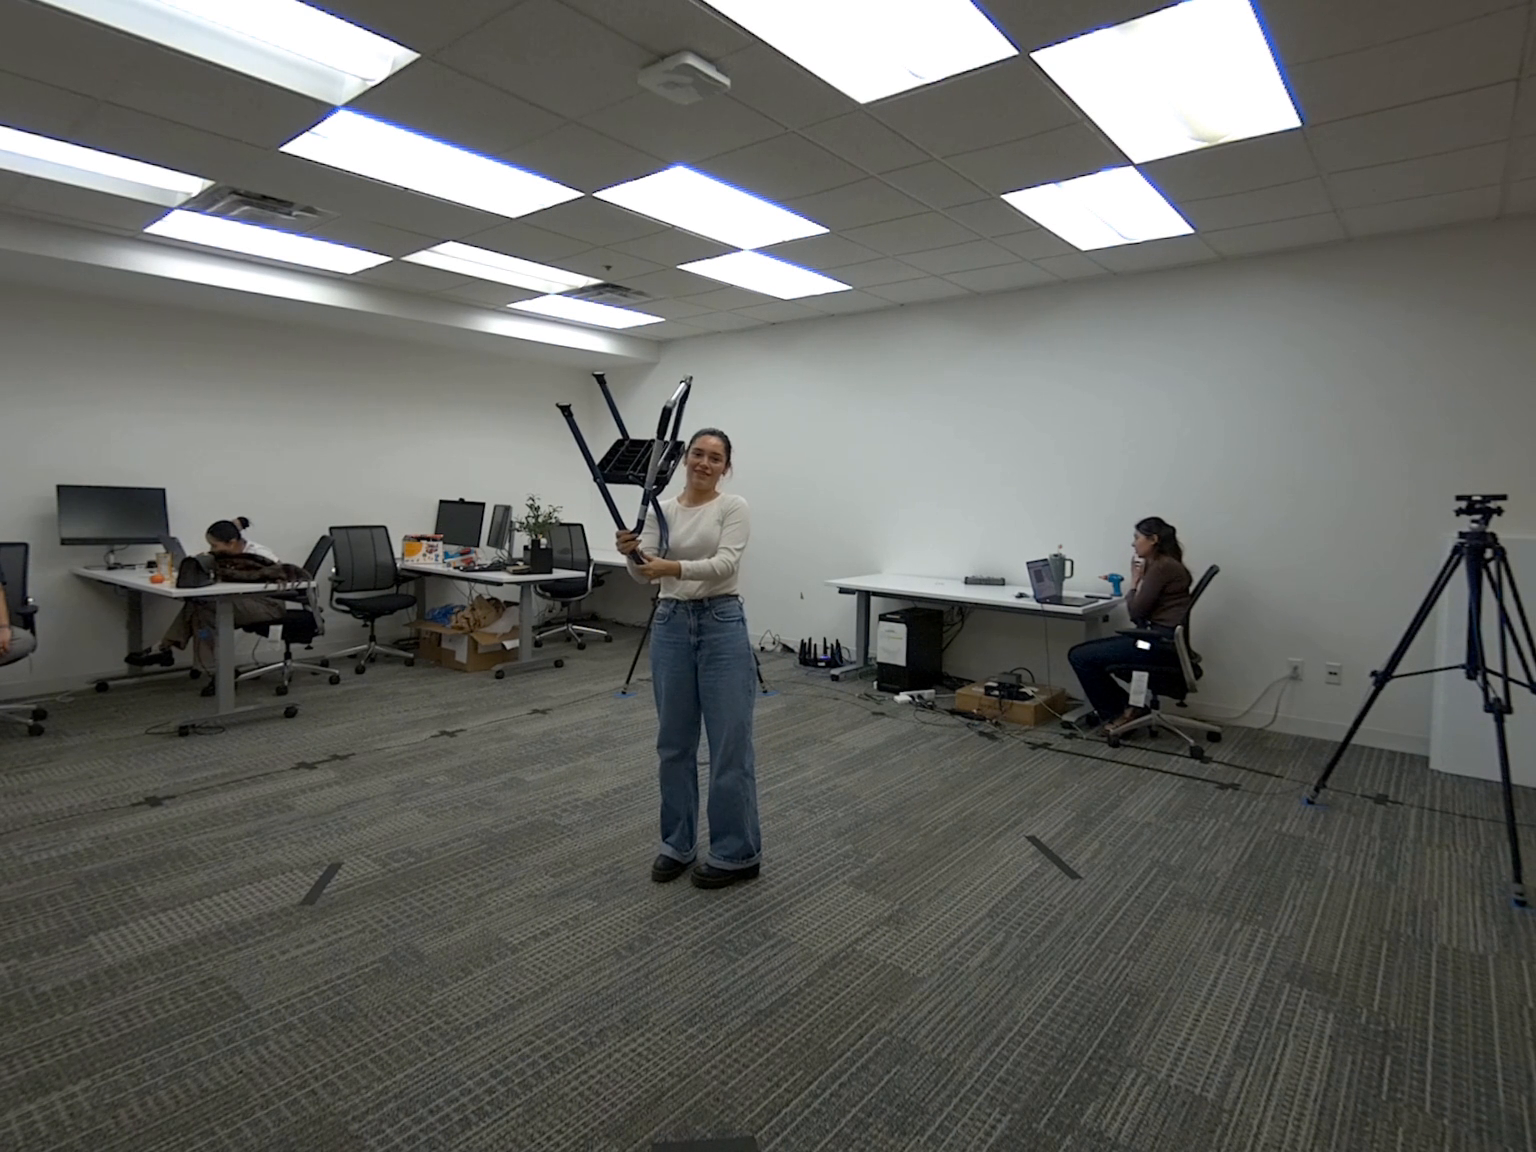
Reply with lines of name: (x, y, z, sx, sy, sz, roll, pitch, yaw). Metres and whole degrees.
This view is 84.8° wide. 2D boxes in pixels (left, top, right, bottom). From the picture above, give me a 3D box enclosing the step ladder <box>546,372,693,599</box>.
step ladder: (-0.449, -0.328, 2.813, 0.352, 0.593, 0.437, 2, 25, 6)
